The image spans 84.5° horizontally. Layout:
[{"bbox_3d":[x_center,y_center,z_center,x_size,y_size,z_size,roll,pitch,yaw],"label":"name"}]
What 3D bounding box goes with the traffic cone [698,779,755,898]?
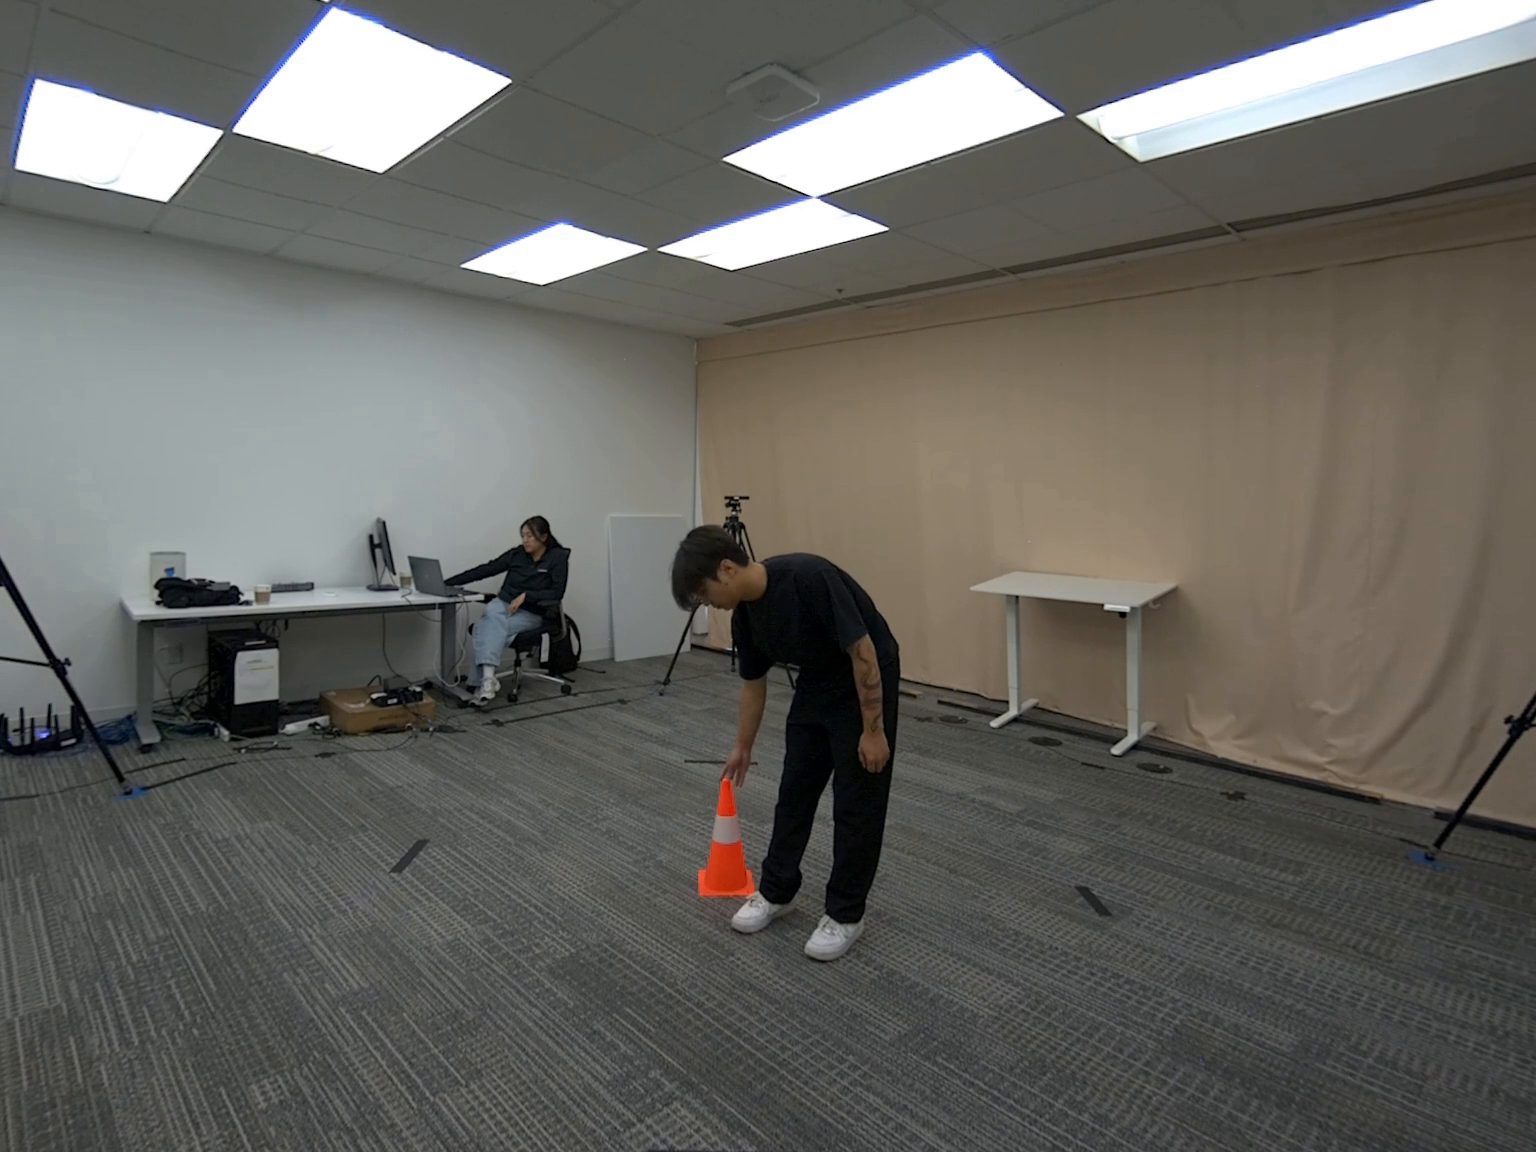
[{"bbox_3d":[-0.158,0.927,3.034,0.203,0.383,0.206,1,3,-3],"label":"traffic cone"}]
